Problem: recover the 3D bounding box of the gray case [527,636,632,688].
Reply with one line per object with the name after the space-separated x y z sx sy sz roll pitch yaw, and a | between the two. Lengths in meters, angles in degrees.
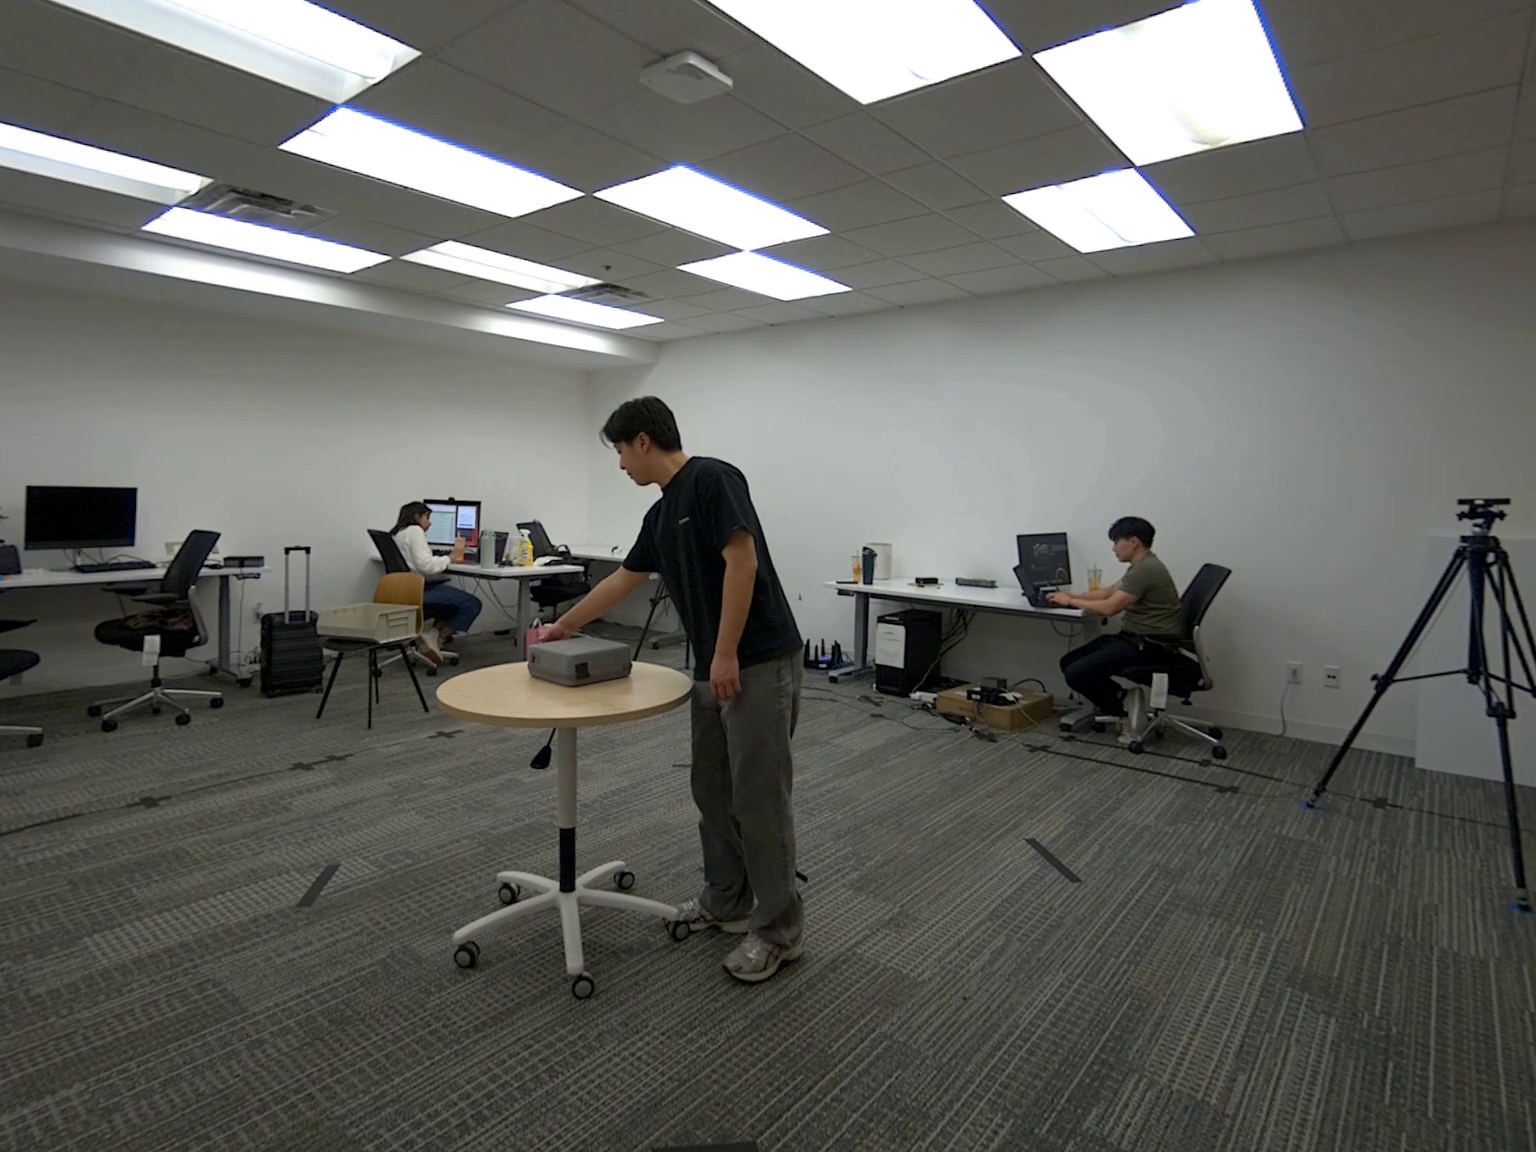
-0.617 0.262 2.724 0.255 0.102 0.297 -4 8 -42 | gray case
